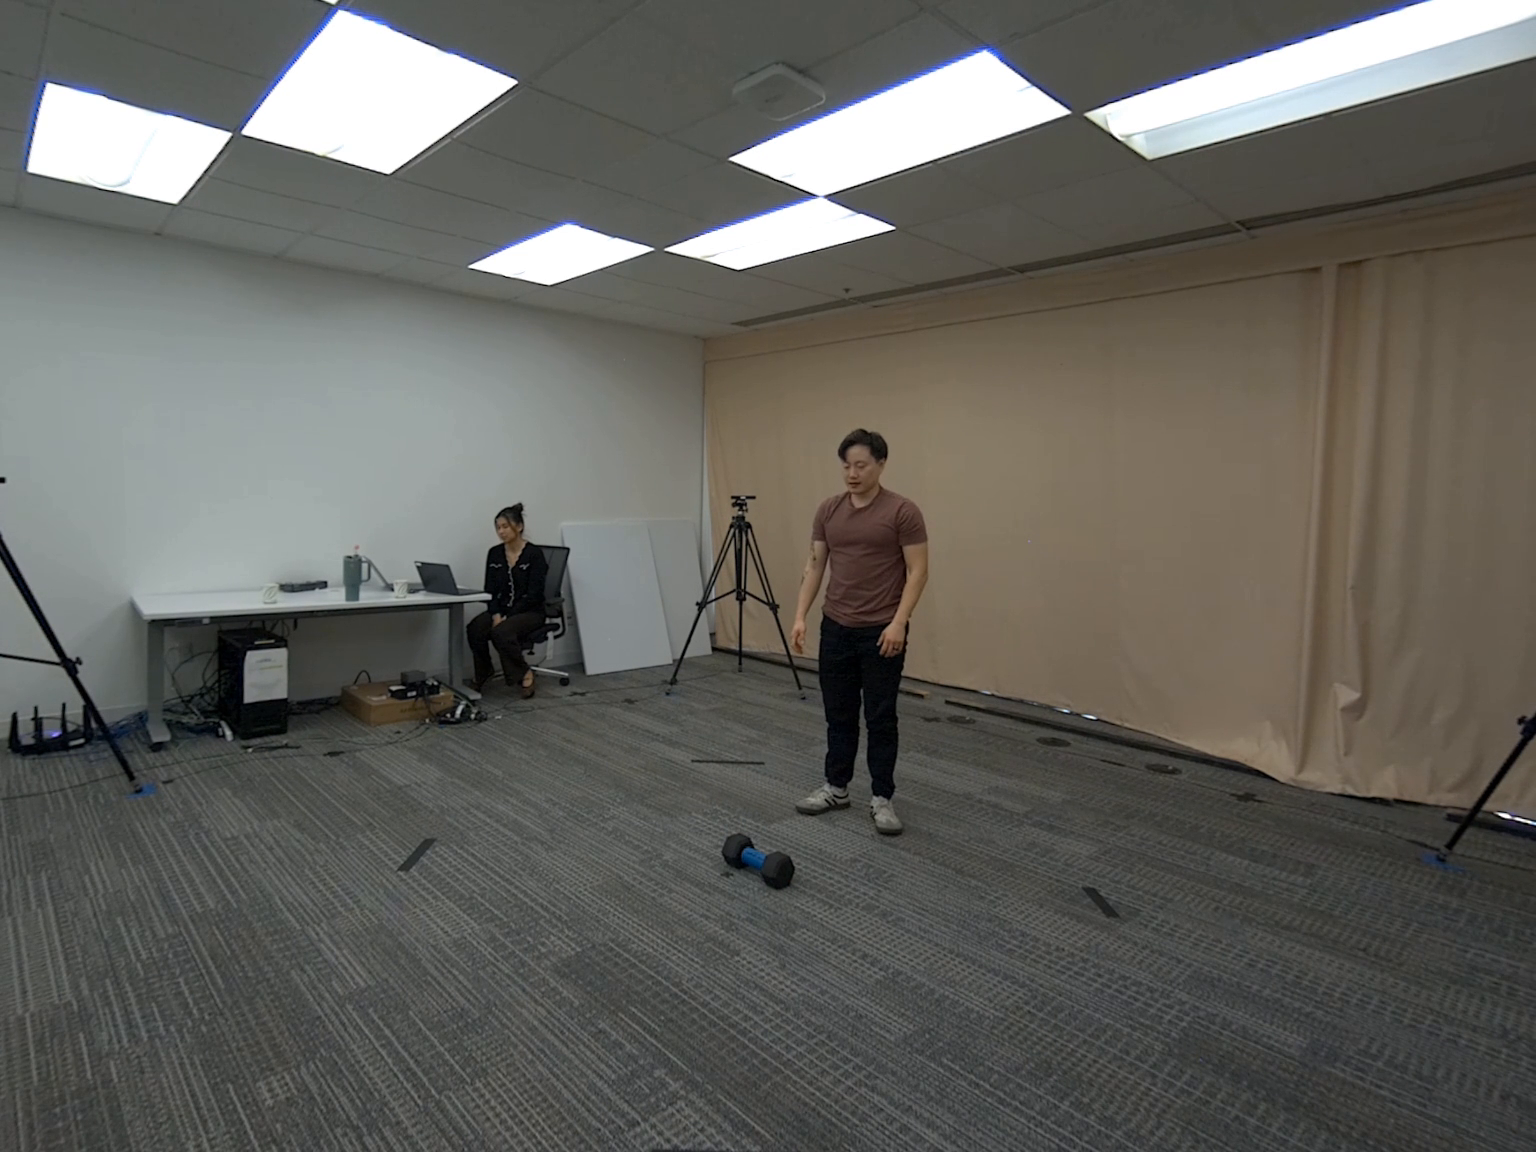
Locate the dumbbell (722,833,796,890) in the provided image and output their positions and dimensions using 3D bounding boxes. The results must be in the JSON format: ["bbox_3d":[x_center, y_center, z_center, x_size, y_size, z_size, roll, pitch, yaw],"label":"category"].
[{"bbox_3d":[-0.047,1.050,3.105,0.301,0.123,0.105,7,-21,47],"label":"dumbbell"}]
